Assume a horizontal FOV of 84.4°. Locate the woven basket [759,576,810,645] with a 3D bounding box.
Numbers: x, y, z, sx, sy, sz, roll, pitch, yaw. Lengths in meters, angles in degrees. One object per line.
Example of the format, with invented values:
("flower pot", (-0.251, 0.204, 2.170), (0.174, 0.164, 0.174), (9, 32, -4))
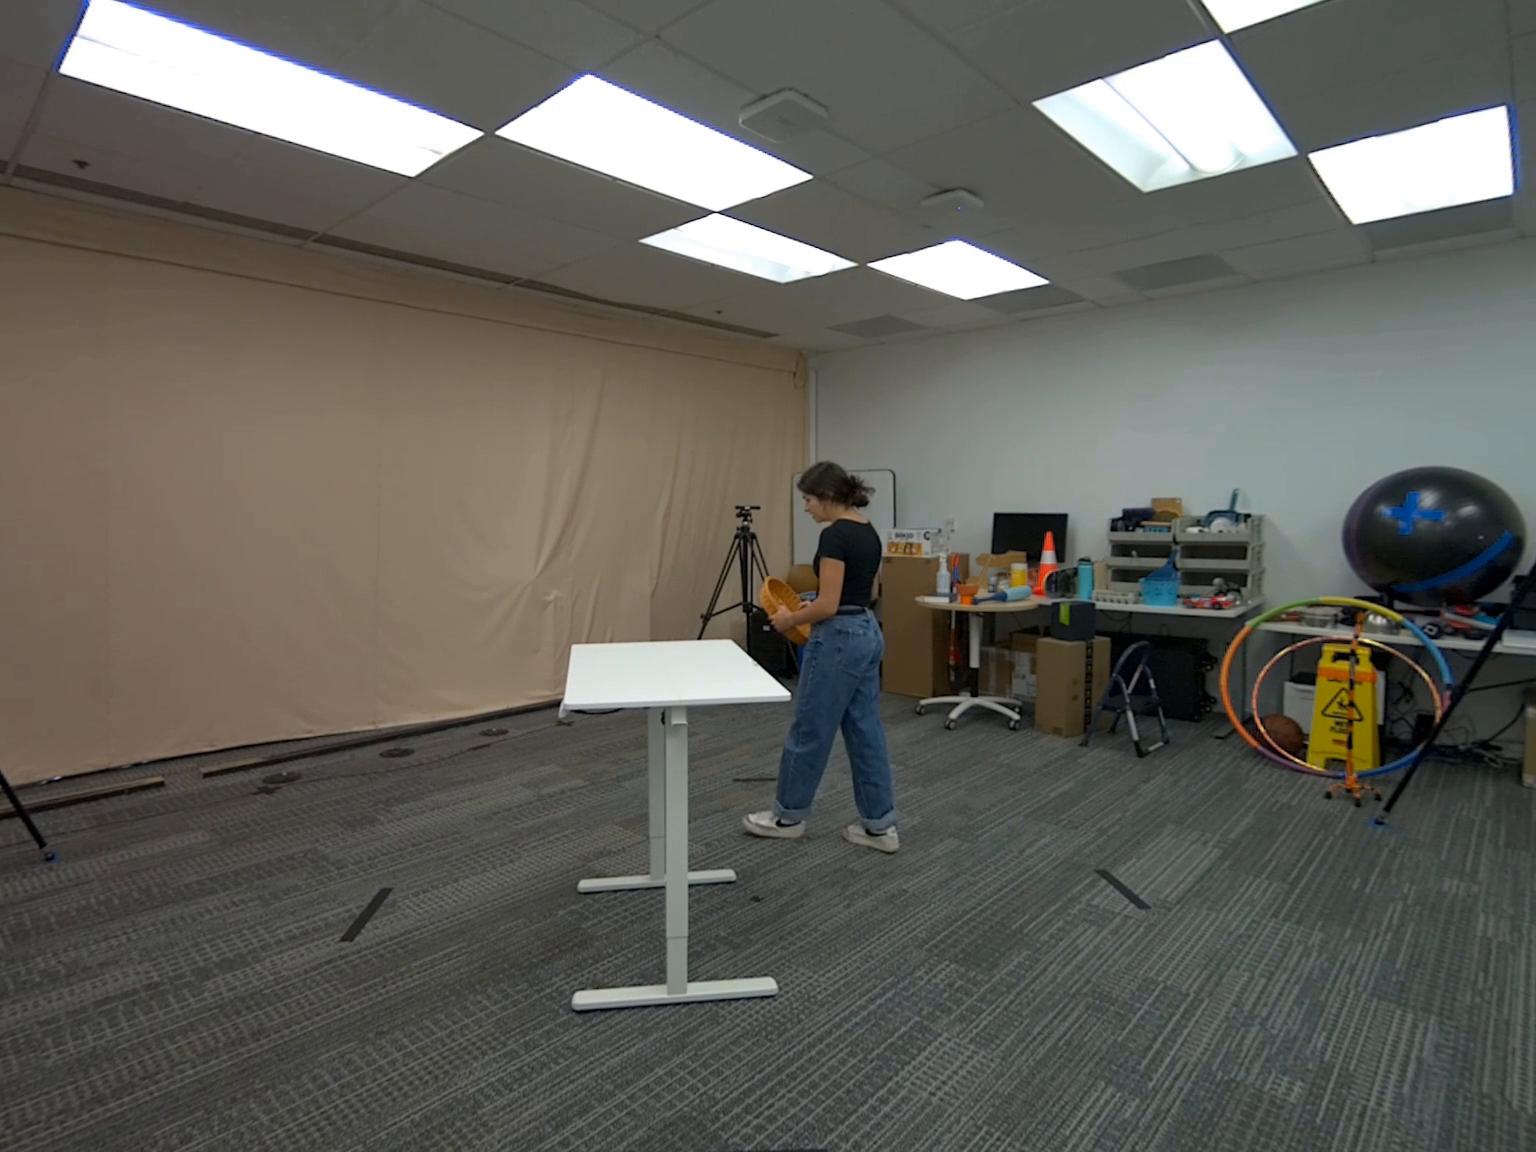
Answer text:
("woven basket", (0.076, 0.156, 3.617), (0.074, 0.360, 0.244), (-41, -29, 19))
